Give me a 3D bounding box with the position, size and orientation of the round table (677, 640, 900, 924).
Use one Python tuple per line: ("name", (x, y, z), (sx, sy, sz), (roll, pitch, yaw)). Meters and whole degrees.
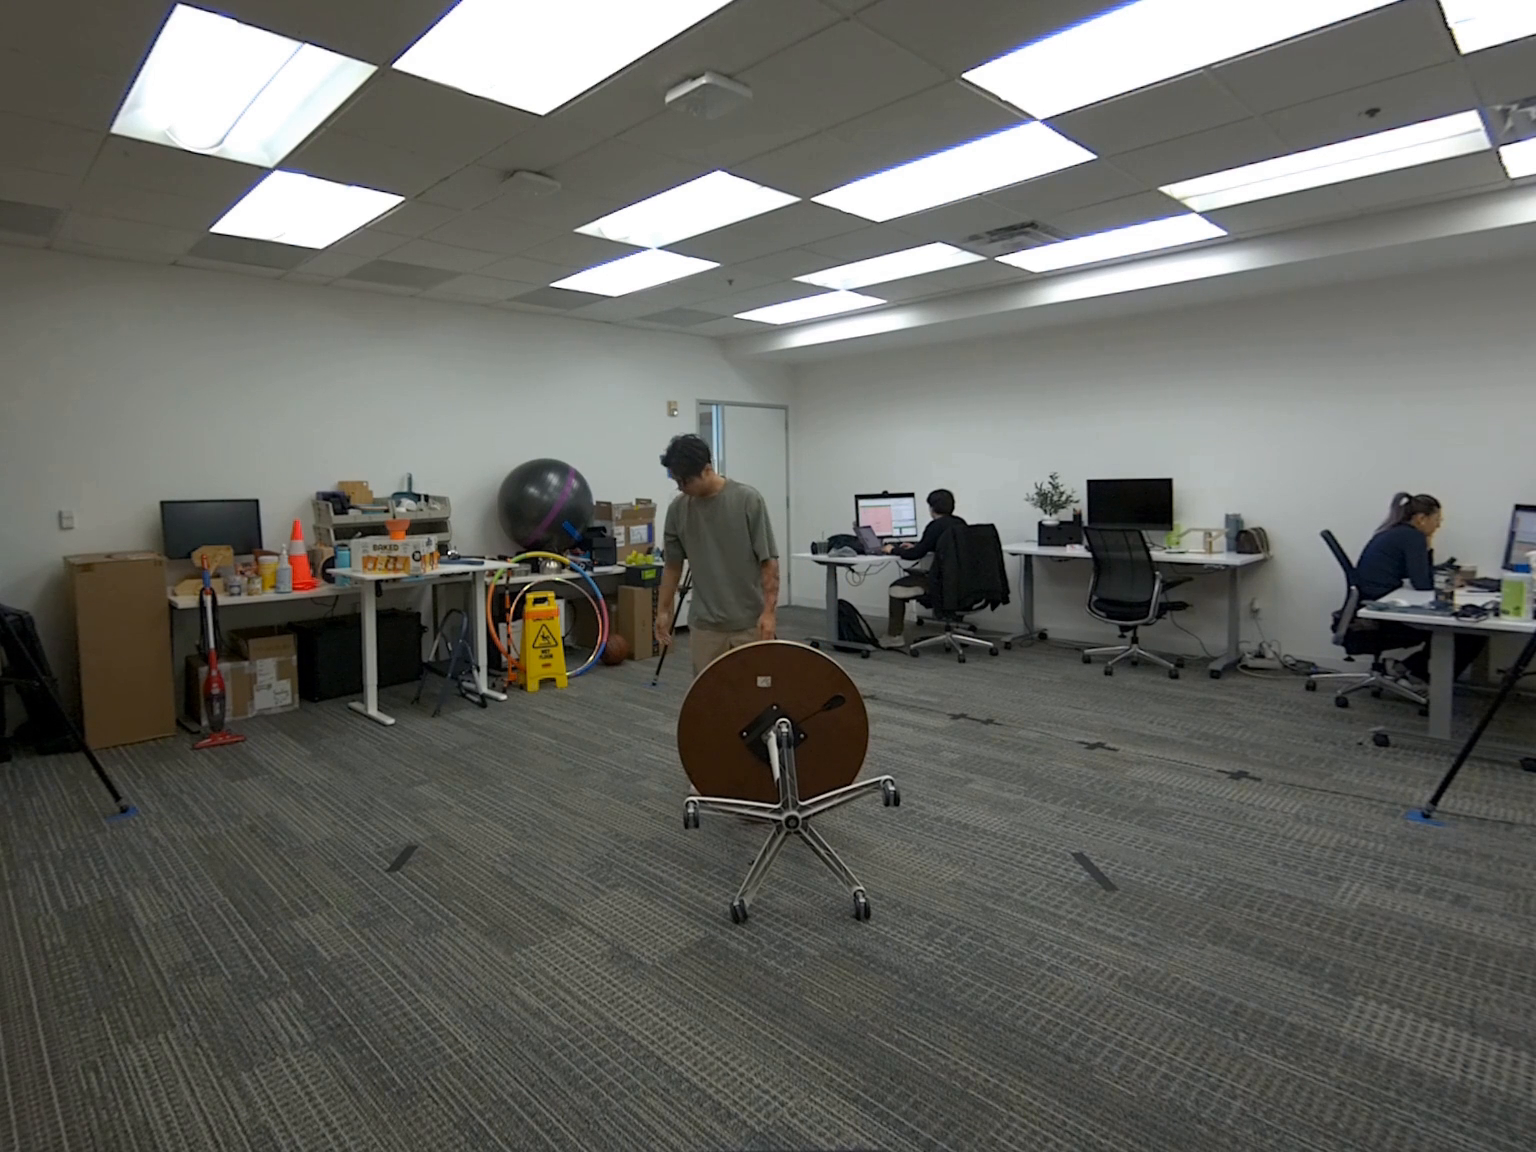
("round table", (0.060, 0.709, 3.021), (0.782, 0.778, 0.797), (-1, 11, -4))
